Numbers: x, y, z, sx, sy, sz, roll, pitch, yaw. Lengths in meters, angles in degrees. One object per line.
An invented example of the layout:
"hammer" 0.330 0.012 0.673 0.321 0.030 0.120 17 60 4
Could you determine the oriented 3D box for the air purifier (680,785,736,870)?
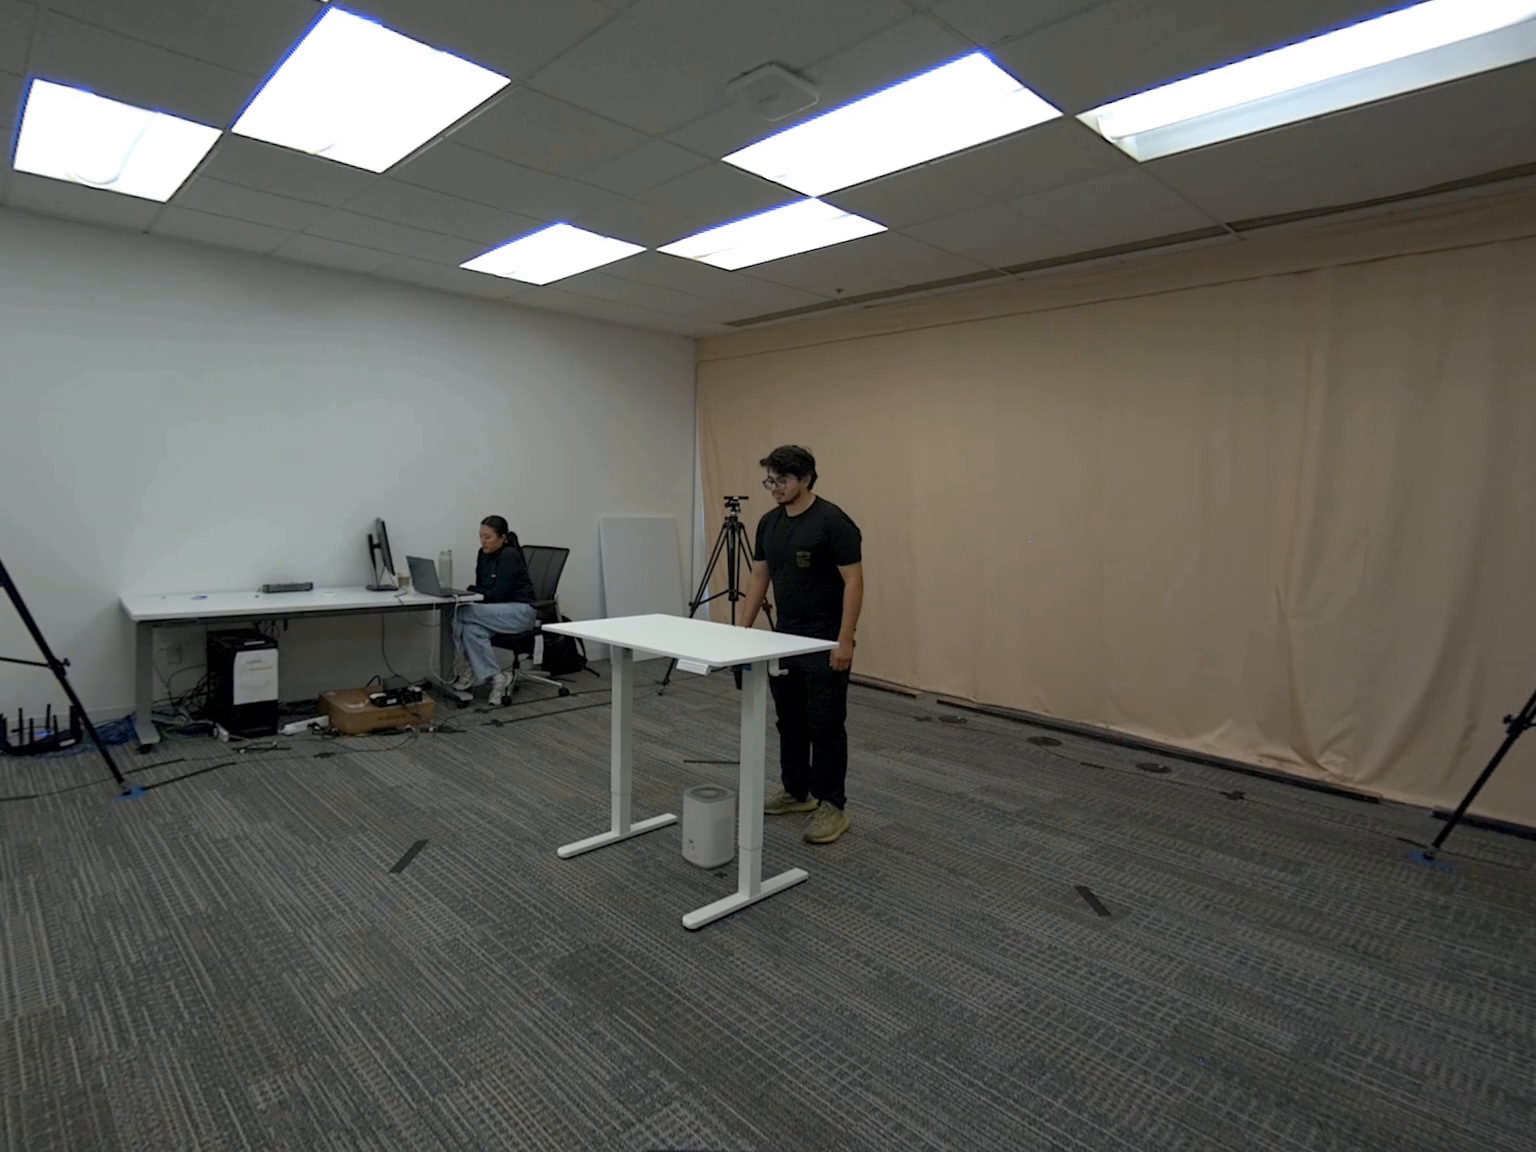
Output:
"air purifier" -0.231 0.955 3.217 0.168 0.265 0.175 -2 5 -45
